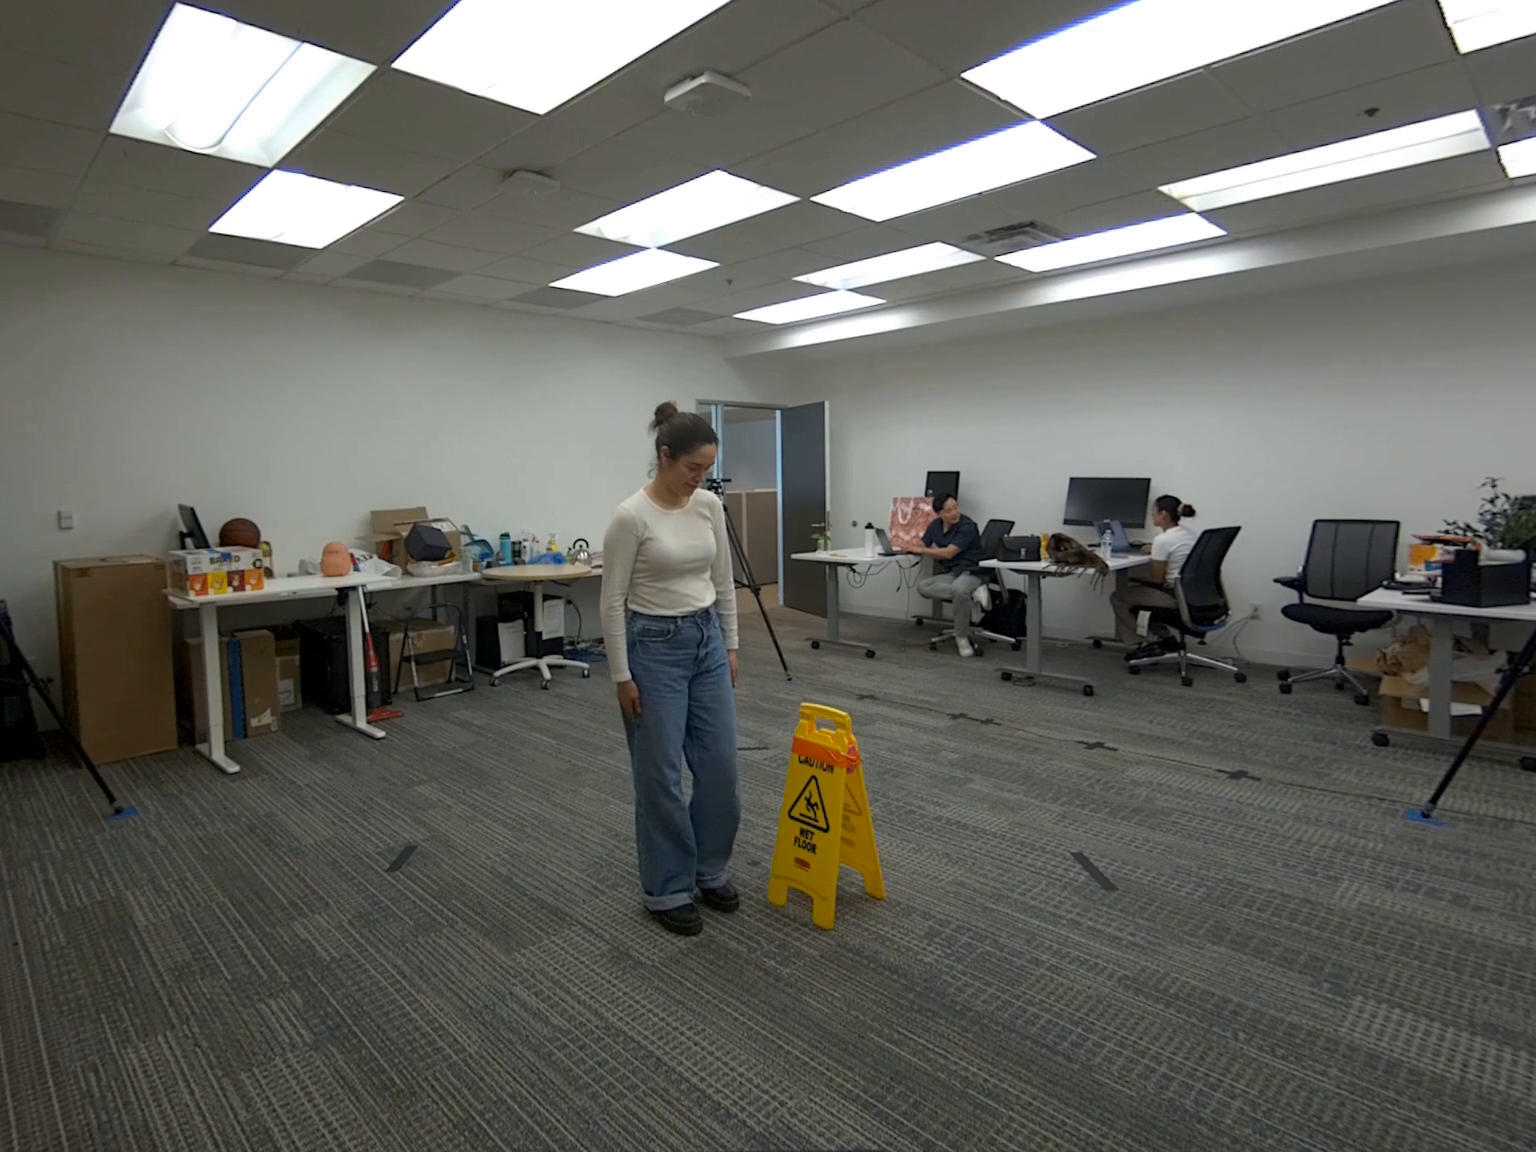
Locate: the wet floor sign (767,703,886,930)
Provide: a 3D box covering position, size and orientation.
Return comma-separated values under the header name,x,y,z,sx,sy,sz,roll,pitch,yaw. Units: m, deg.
name,x,y,z,sx,sy,sz,roll,pitch,yaw
wet floor sign,0.188,0.748,2.806,0.282,0.643,0.291,-5,6,-44
